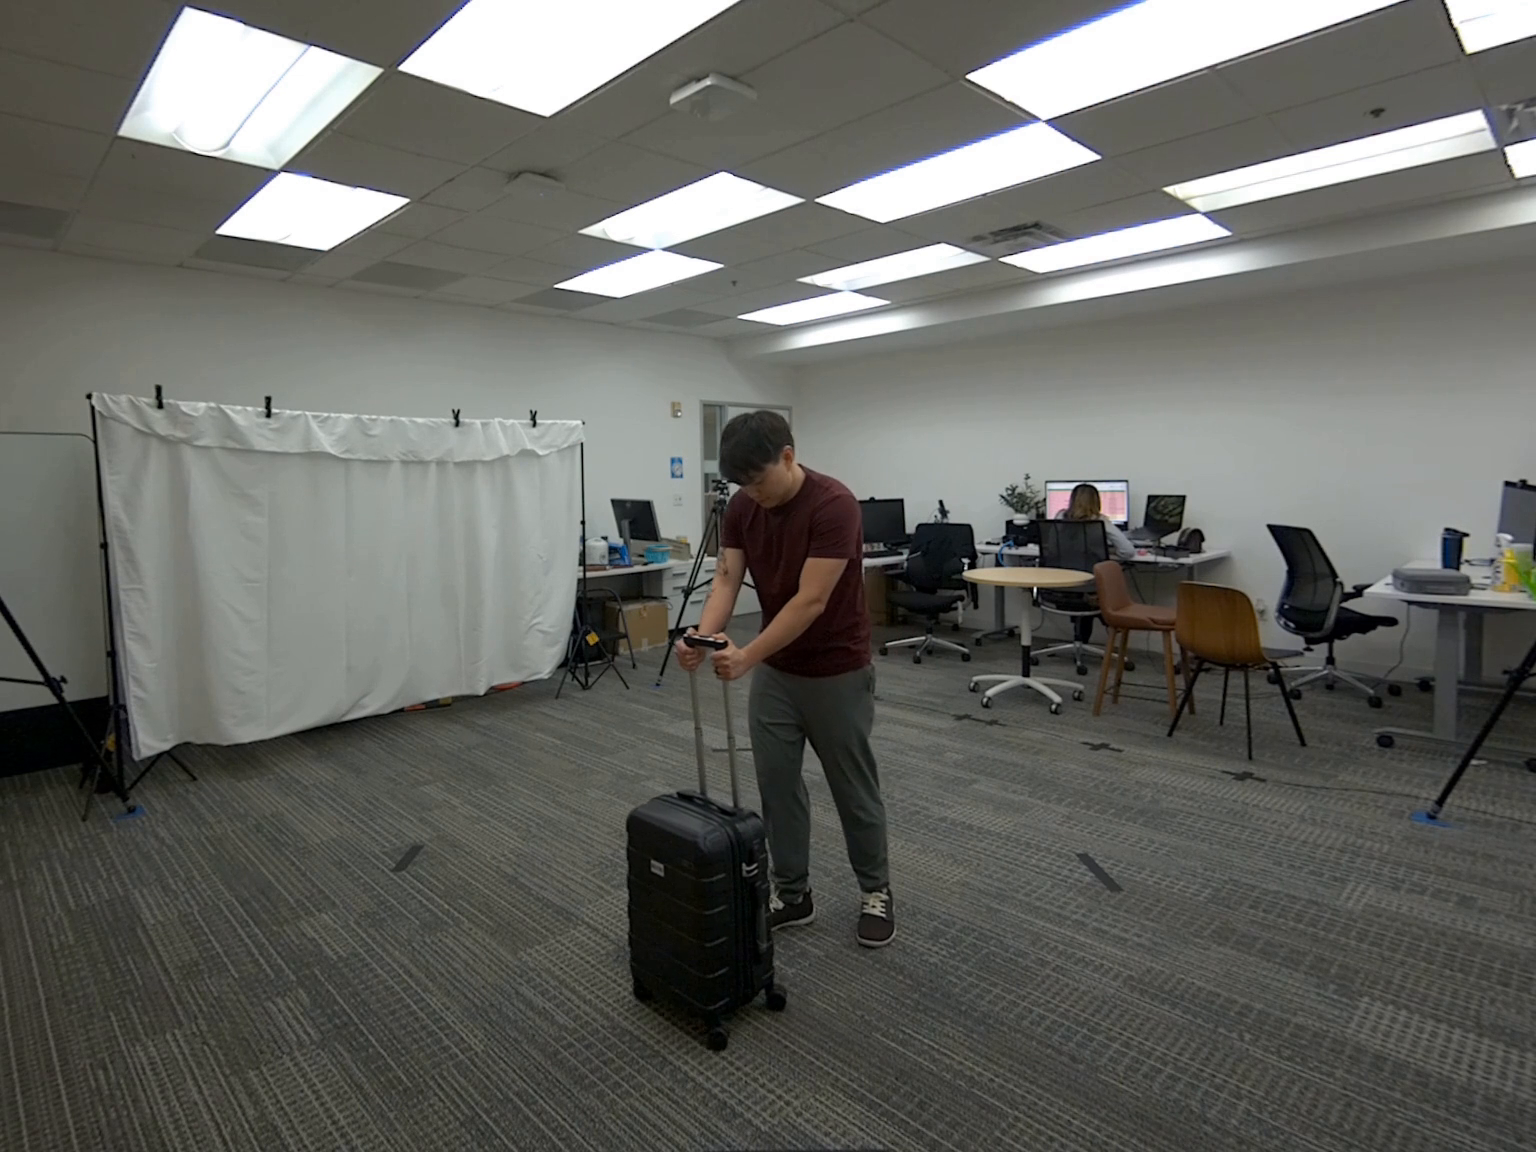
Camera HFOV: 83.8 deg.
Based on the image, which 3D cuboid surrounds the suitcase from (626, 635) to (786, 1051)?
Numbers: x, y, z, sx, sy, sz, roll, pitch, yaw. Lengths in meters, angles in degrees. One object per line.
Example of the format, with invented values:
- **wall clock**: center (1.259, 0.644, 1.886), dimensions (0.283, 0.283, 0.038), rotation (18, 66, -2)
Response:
- **suitcase**: center (-0.197, 0.677, 2.255), dimensions (0.395, 0.973, 0.251), rotation (2, 7, 43)
